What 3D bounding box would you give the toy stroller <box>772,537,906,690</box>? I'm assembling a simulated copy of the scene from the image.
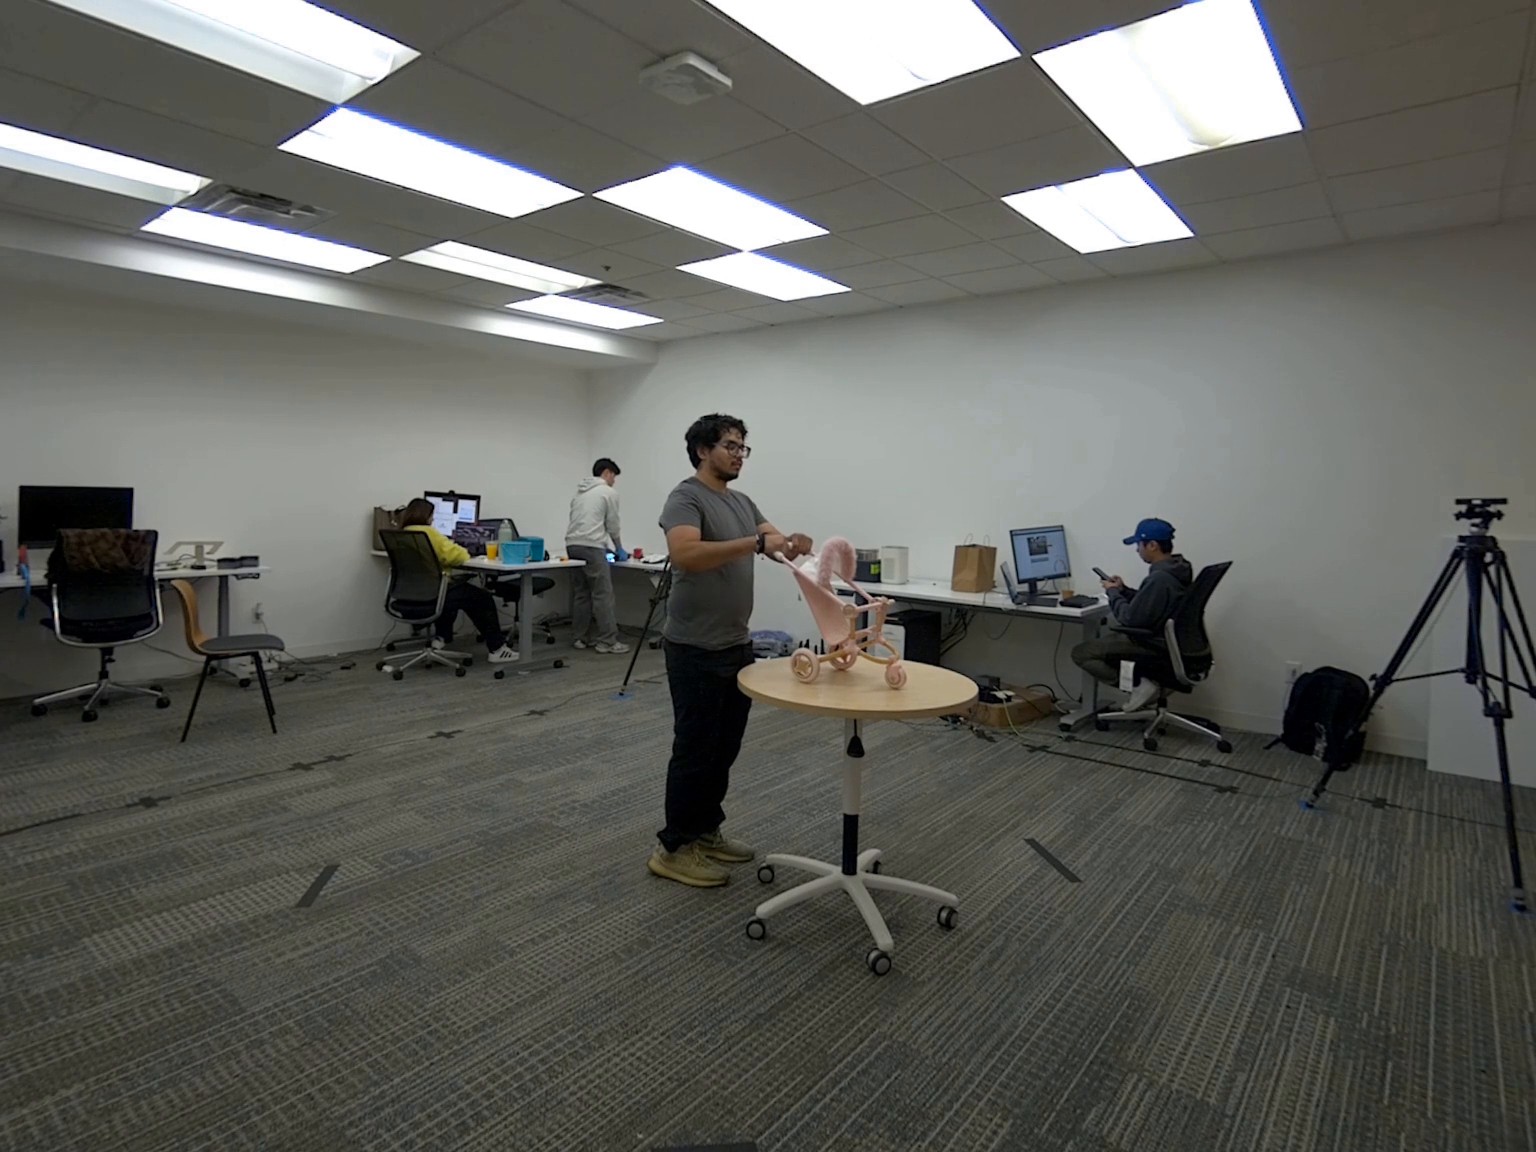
[{"bbox_3d":[0.230,0.108,2.747,0.349,0.539,0.273,-15,-7,39],"label":"toy stroller"}]
